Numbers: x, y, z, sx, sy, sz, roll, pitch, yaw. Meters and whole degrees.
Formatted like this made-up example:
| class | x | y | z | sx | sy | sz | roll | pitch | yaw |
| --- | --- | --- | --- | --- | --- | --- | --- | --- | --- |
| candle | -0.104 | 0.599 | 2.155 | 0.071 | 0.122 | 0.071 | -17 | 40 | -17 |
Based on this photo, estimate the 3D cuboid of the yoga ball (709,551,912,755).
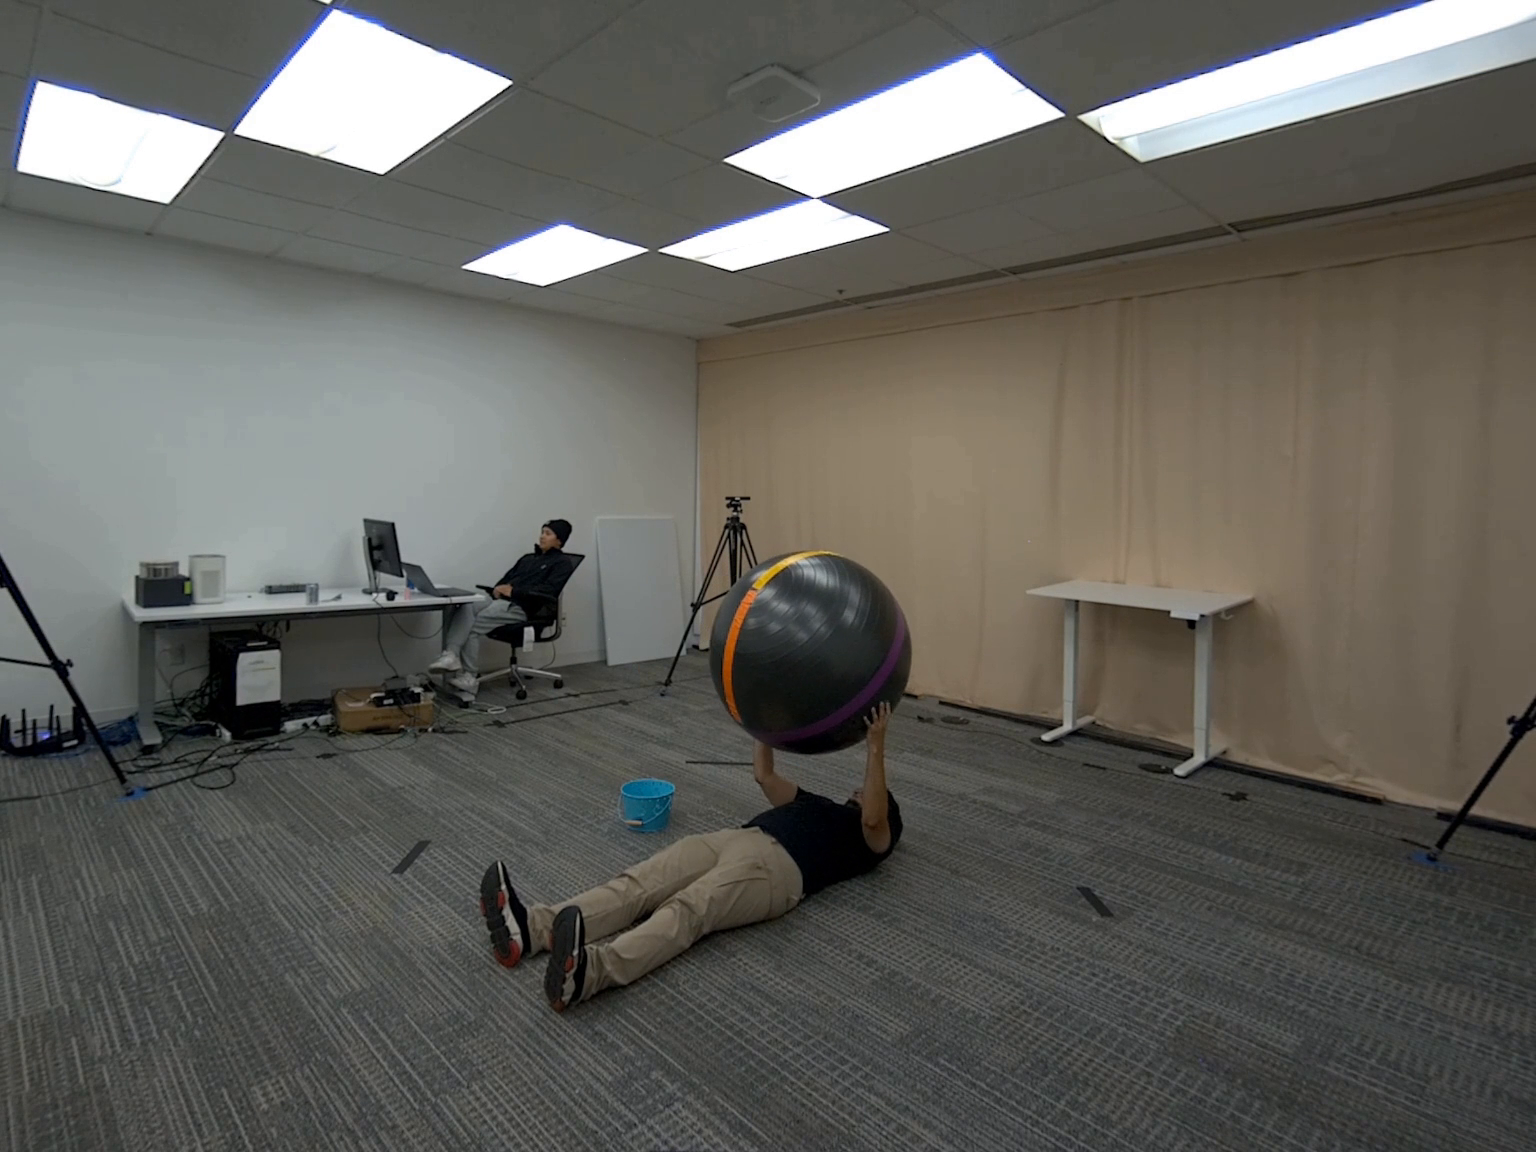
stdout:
| class | x | y | z | sx | sy | sz | roll | pitch | yaw |
| --- | --- | --- | --- | --- | --- | --- | --- | --- | --- |
| yoga ball | 0.150 | 0.291 | 3.169 | 0.757 | 0.755 | 0.761 | 1 | 5 | -1 |
